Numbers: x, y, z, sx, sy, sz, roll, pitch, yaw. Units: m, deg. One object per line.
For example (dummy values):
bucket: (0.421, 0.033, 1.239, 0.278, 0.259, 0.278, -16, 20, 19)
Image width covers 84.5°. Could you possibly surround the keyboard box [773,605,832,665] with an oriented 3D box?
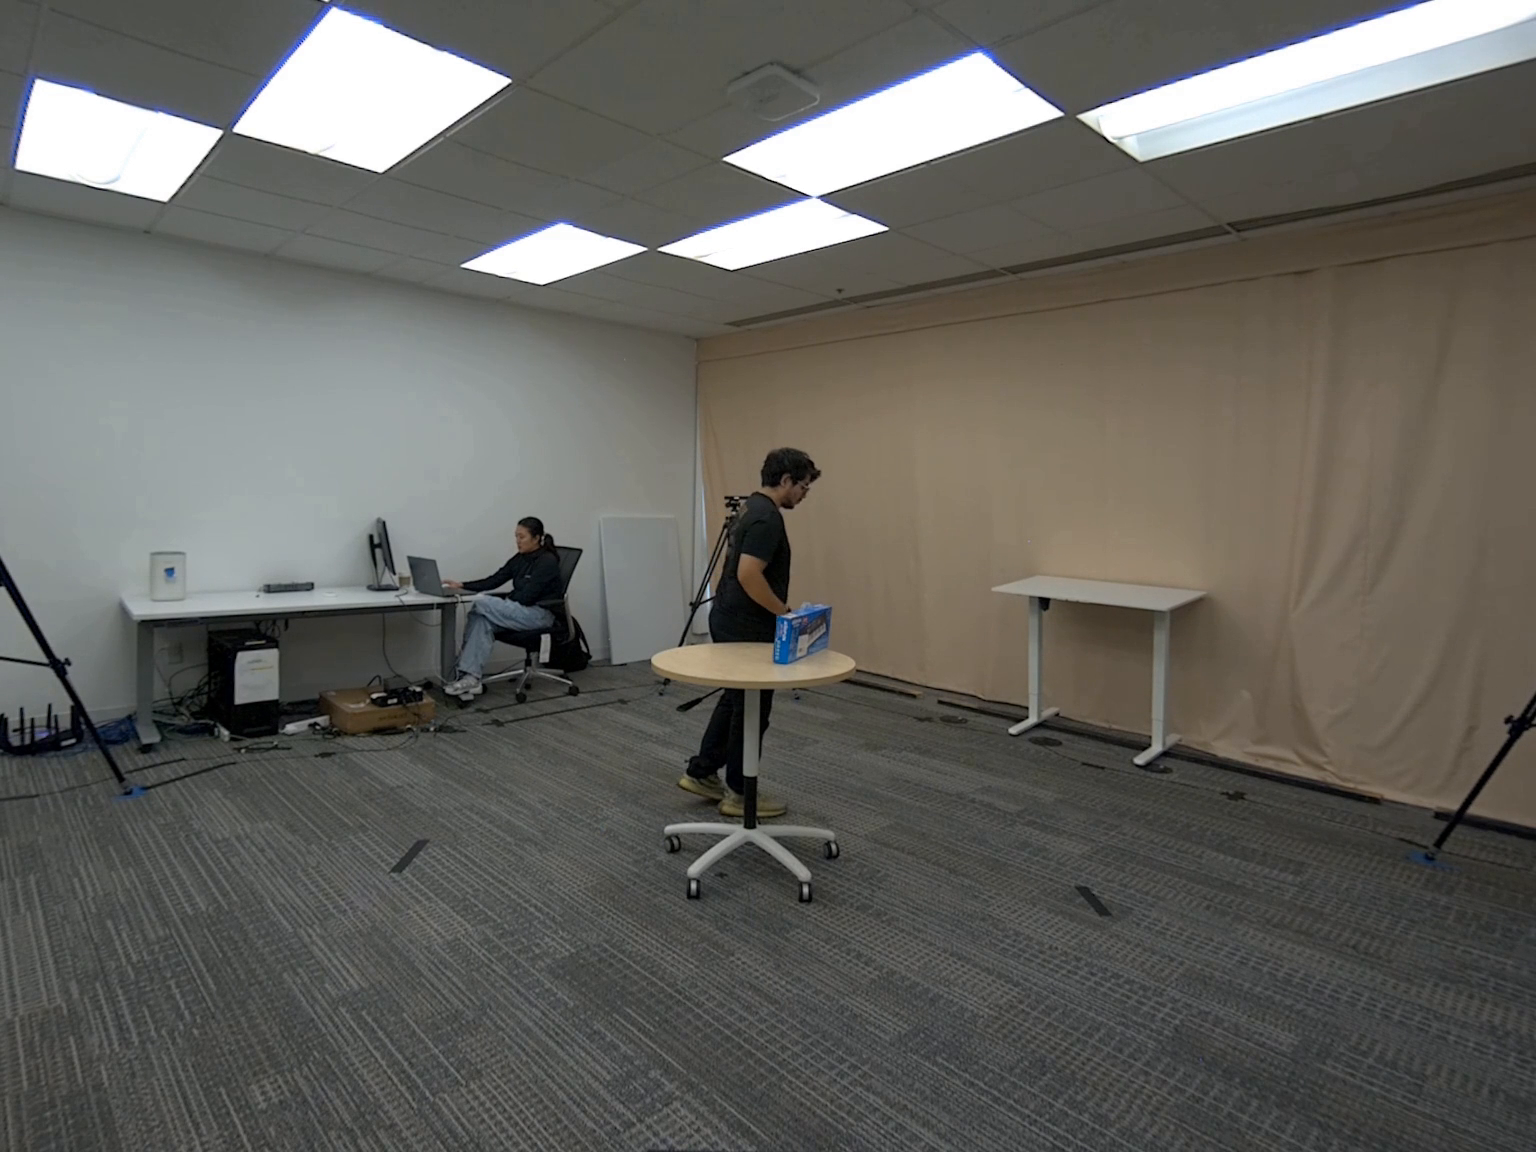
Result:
keyboard box: (0.131, 0.223, 3.280, 0.060, 0.175, 0.429, 9, 7, 24)
